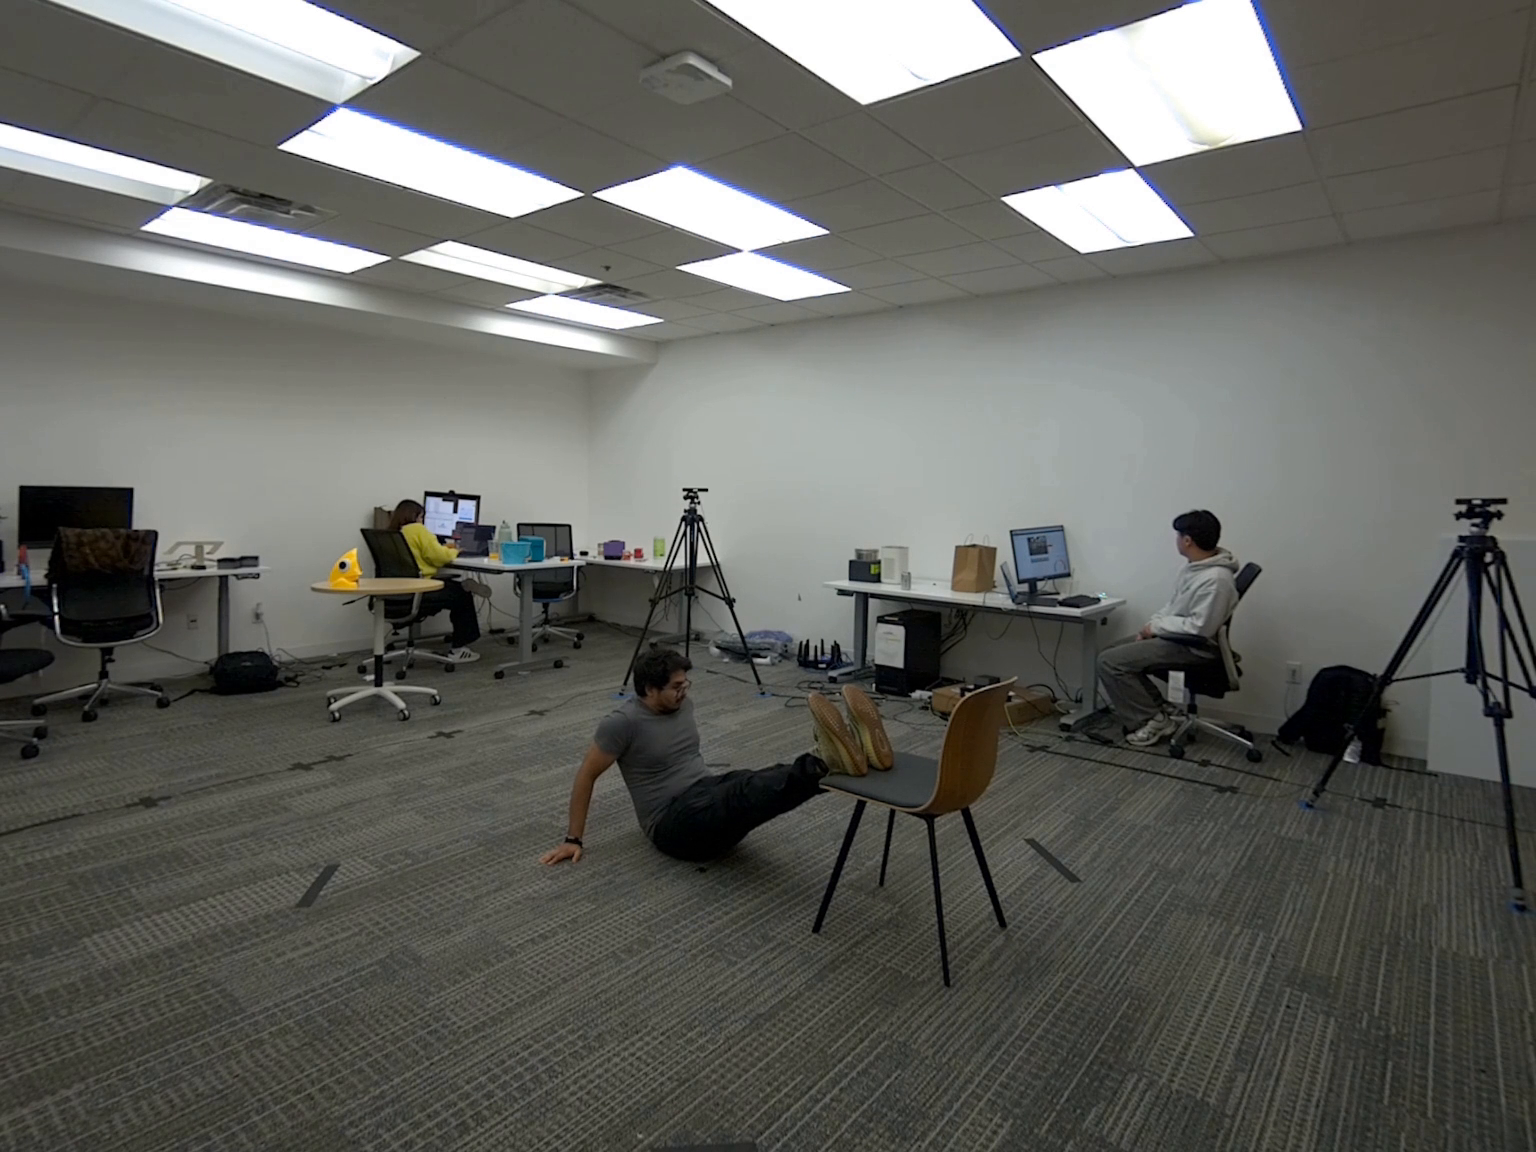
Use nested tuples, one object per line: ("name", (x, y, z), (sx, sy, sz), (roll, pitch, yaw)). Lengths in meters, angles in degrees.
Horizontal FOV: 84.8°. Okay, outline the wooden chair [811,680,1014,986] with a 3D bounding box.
("wooden chair", (0.455, 0.701, 2.690), (0.541, 0.873, 0.464), (9, 7, 37))
